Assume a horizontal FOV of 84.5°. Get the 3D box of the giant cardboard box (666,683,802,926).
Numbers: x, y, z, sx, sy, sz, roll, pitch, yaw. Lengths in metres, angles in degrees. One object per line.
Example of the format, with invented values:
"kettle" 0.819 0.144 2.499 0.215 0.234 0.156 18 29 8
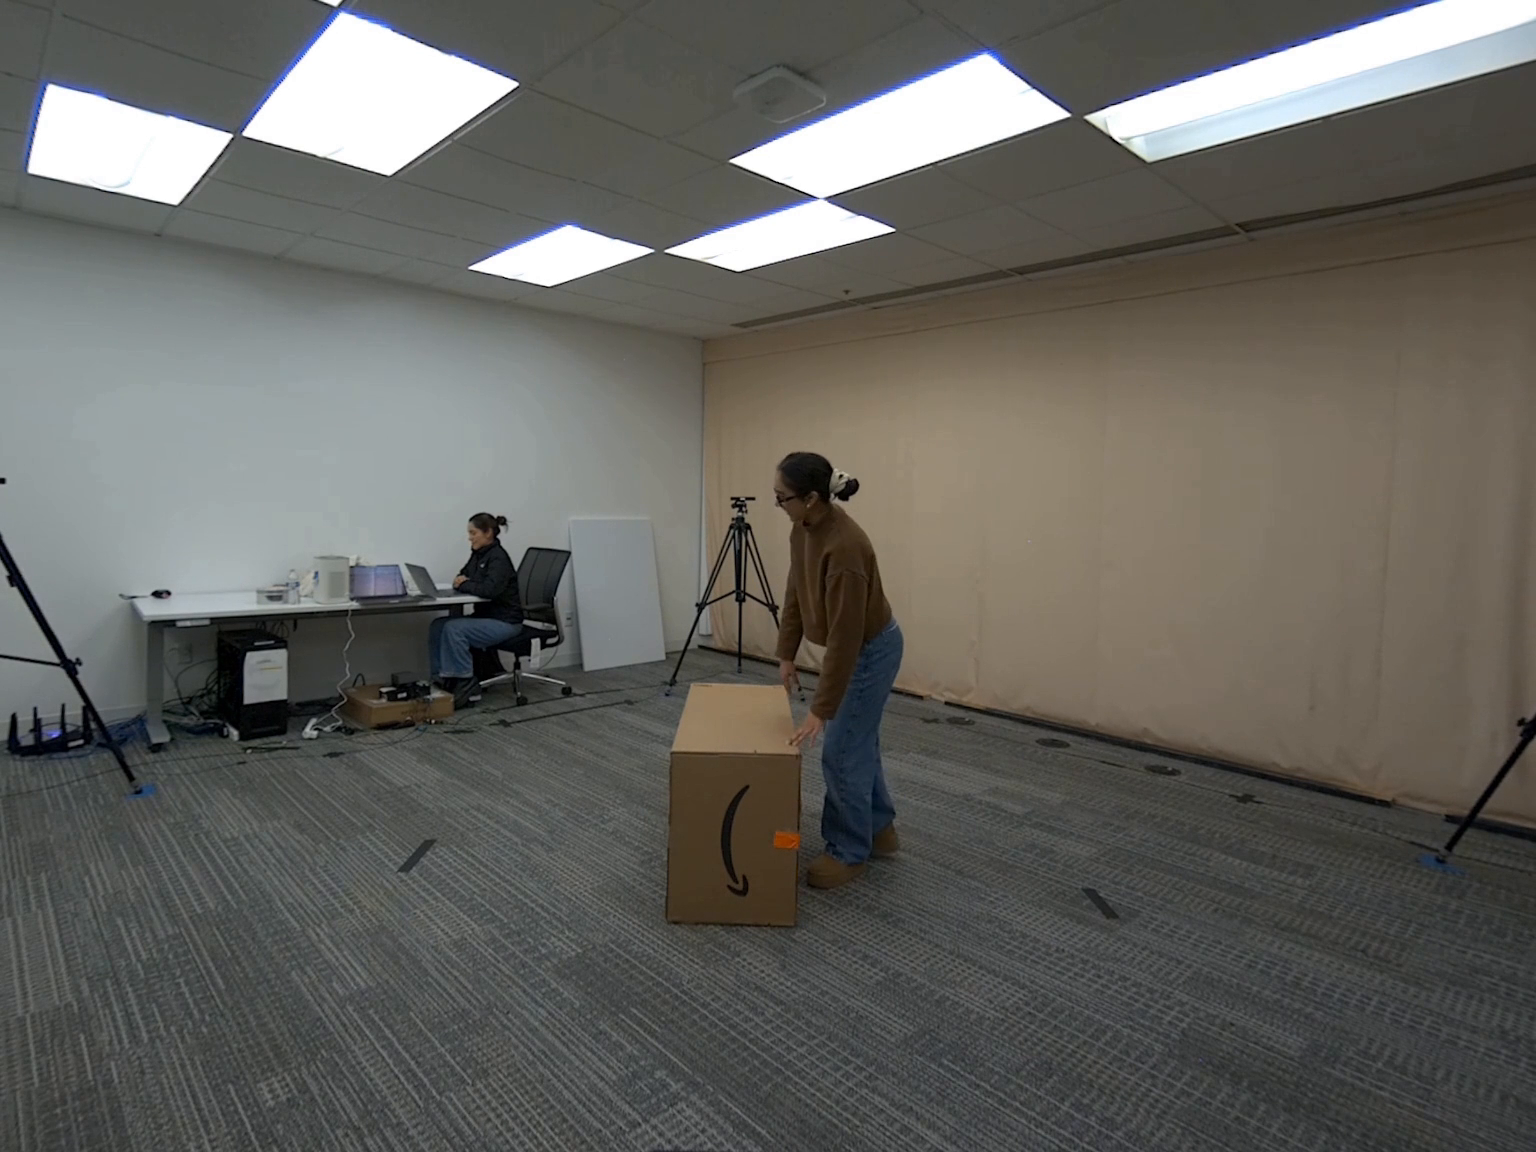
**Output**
"giant cardboard box" -0.129 0.810 3.234 0.447 0.582 1.030 0 5 -1
